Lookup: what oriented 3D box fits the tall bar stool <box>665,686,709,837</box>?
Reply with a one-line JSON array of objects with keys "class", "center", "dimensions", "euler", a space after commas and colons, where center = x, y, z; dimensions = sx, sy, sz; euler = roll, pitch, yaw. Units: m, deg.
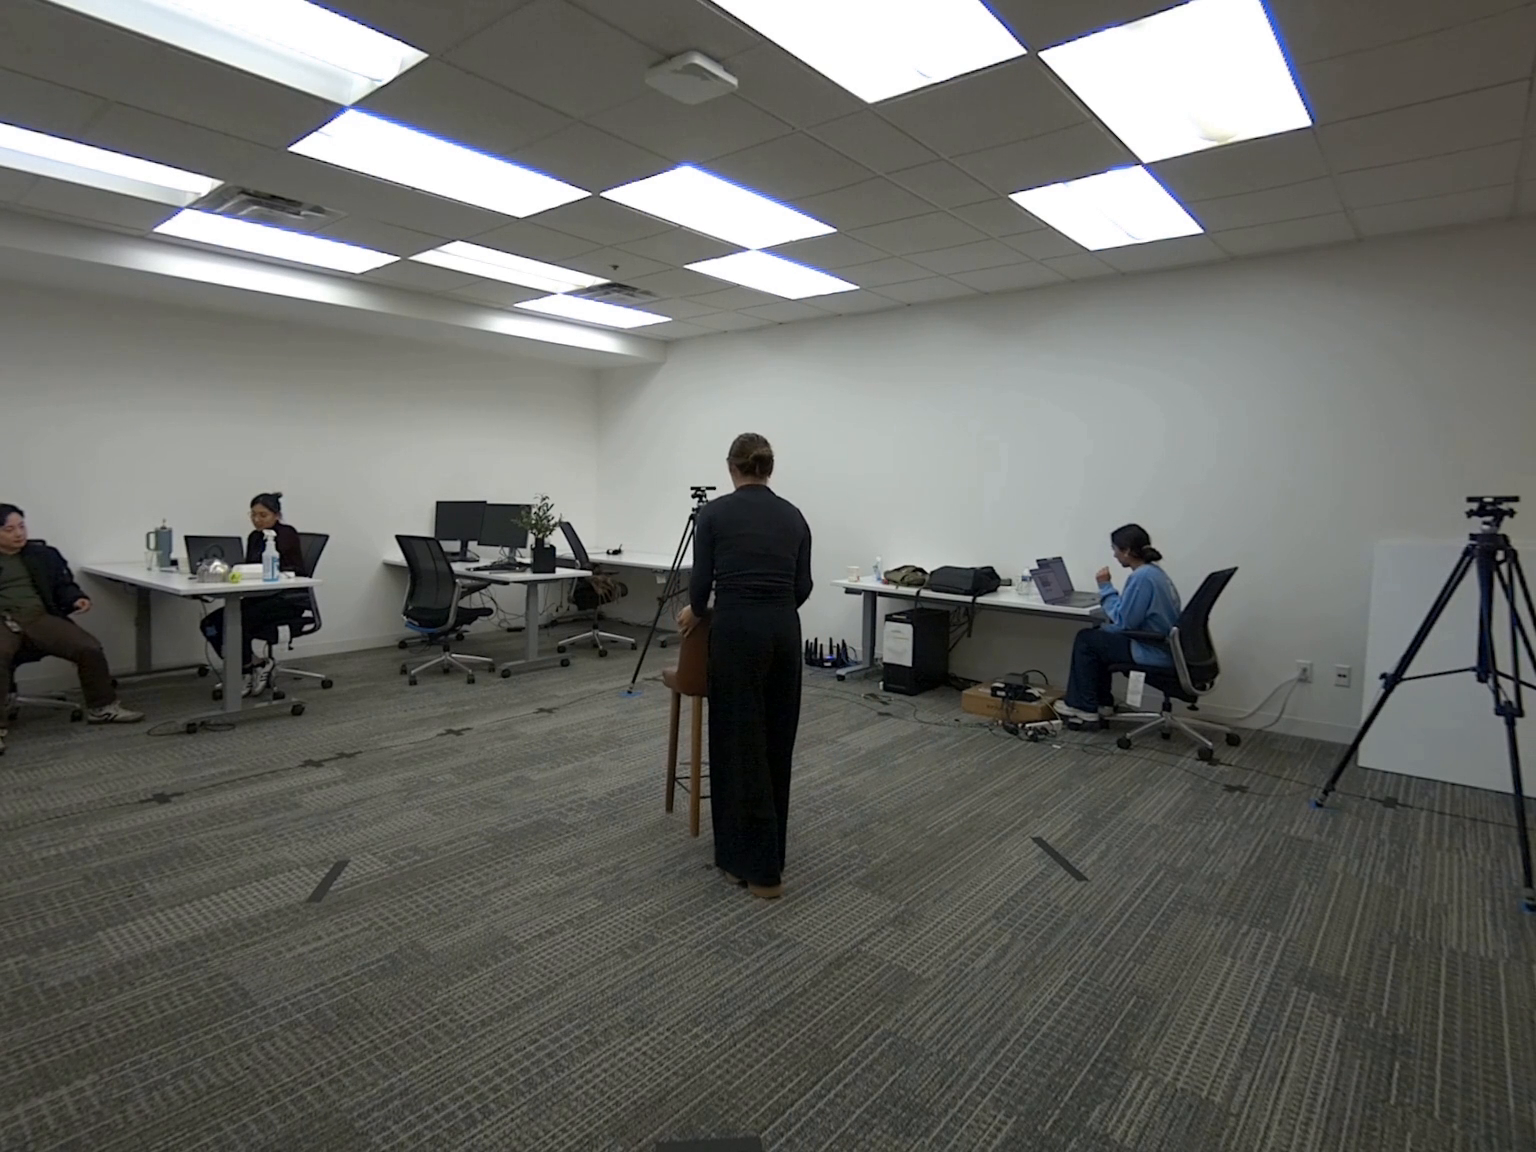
[{"class": "tall bar stool", "center": [-0.198, 0.557, 3.520], "dimensions": [0.449, 0.892, 0.475], "euler": [0, -2, -17]}]
